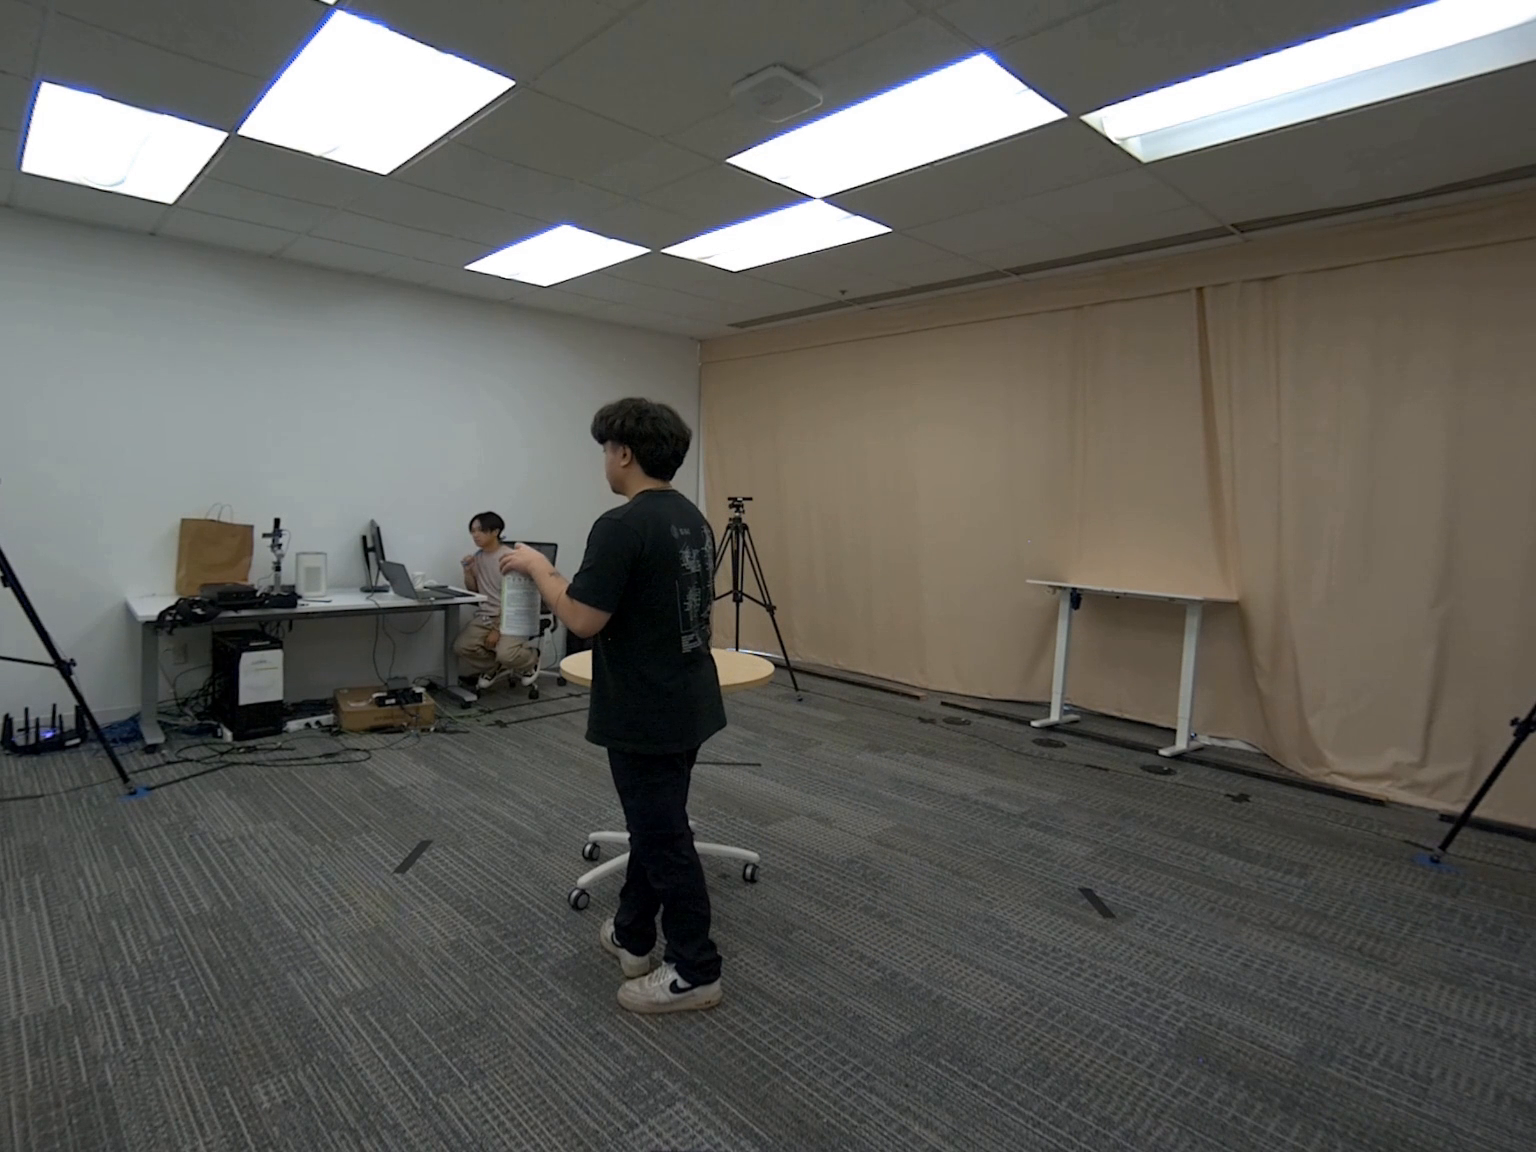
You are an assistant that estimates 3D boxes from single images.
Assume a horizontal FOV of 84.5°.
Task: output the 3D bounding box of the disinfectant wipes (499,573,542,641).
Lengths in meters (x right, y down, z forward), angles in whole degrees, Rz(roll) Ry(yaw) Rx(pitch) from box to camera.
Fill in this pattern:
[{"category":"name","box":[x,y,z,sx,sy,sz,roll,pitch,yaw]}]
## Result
[{"category":"disinfectant wipes","box":[-0.698,0.061,2.374,0.118,0.217,0.118,2,1,-1]}]
